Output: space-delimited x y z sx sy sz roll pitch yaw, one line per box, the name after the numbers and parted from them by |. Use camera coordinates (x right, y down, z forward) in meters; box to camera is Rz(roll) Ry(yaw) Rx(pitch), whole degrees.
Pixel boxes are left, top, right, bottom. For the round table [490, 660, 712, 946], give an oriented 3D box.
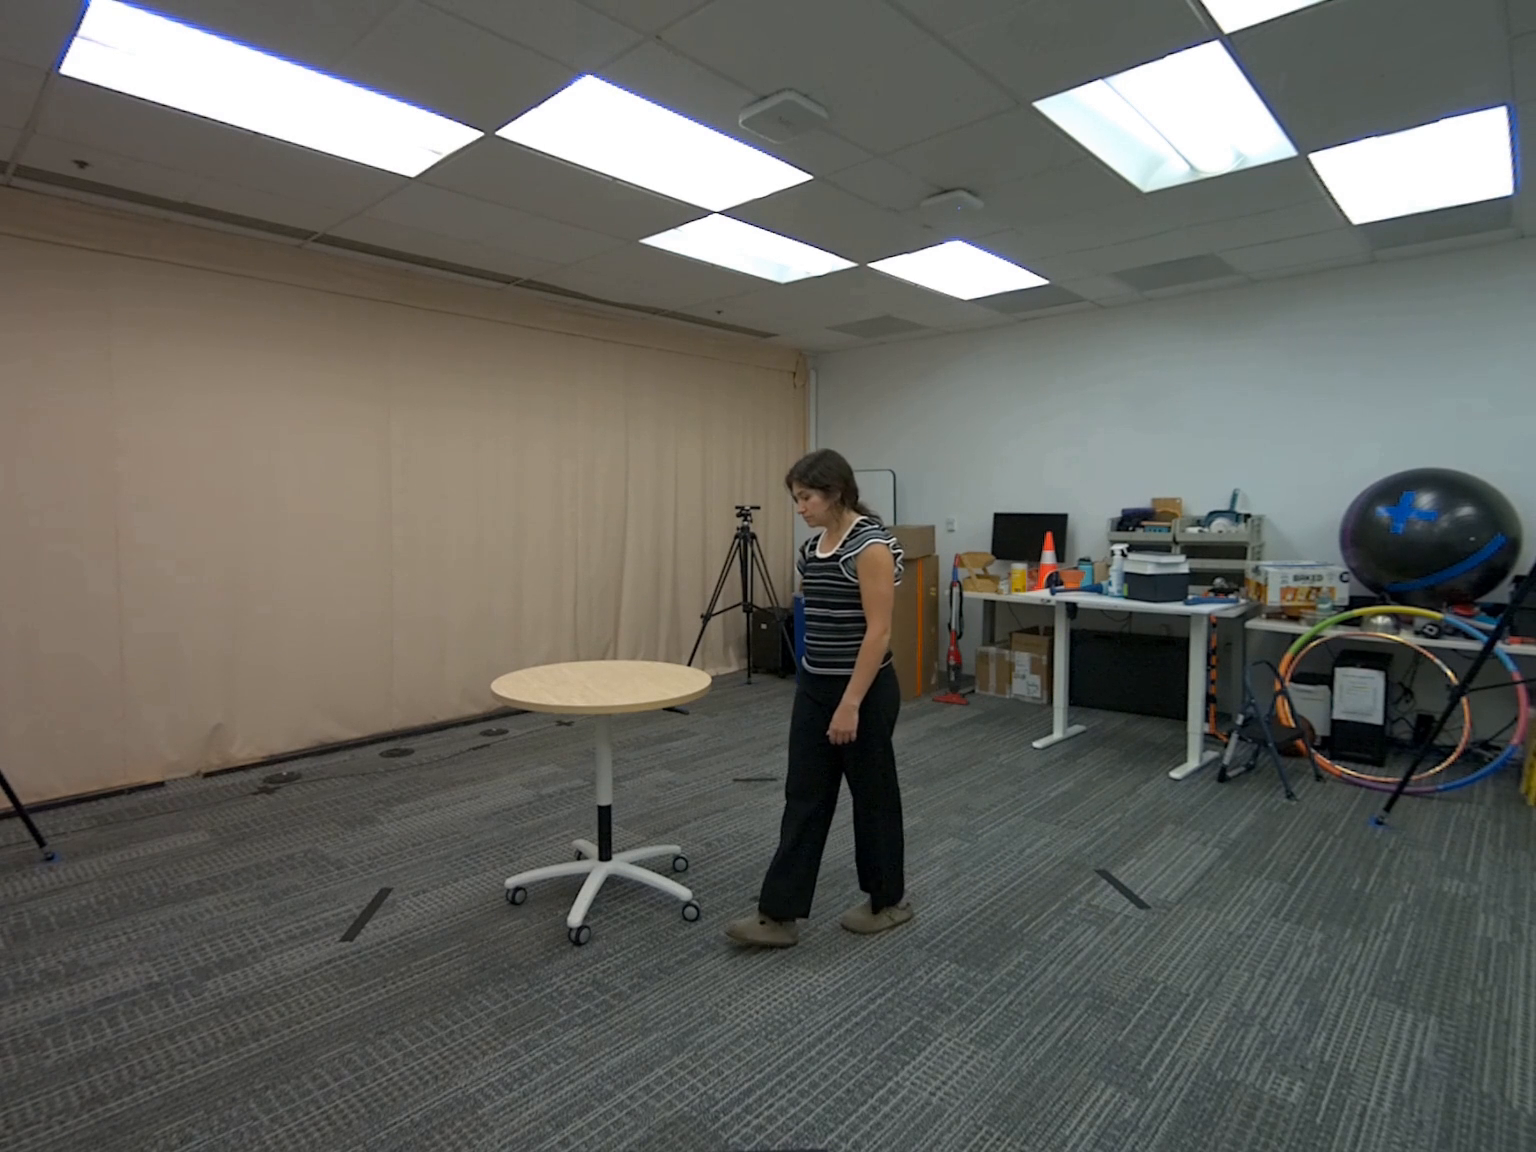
-0.578 0.763 2.979 0.763 0.792 0.766 -1 3 -2 | round table
